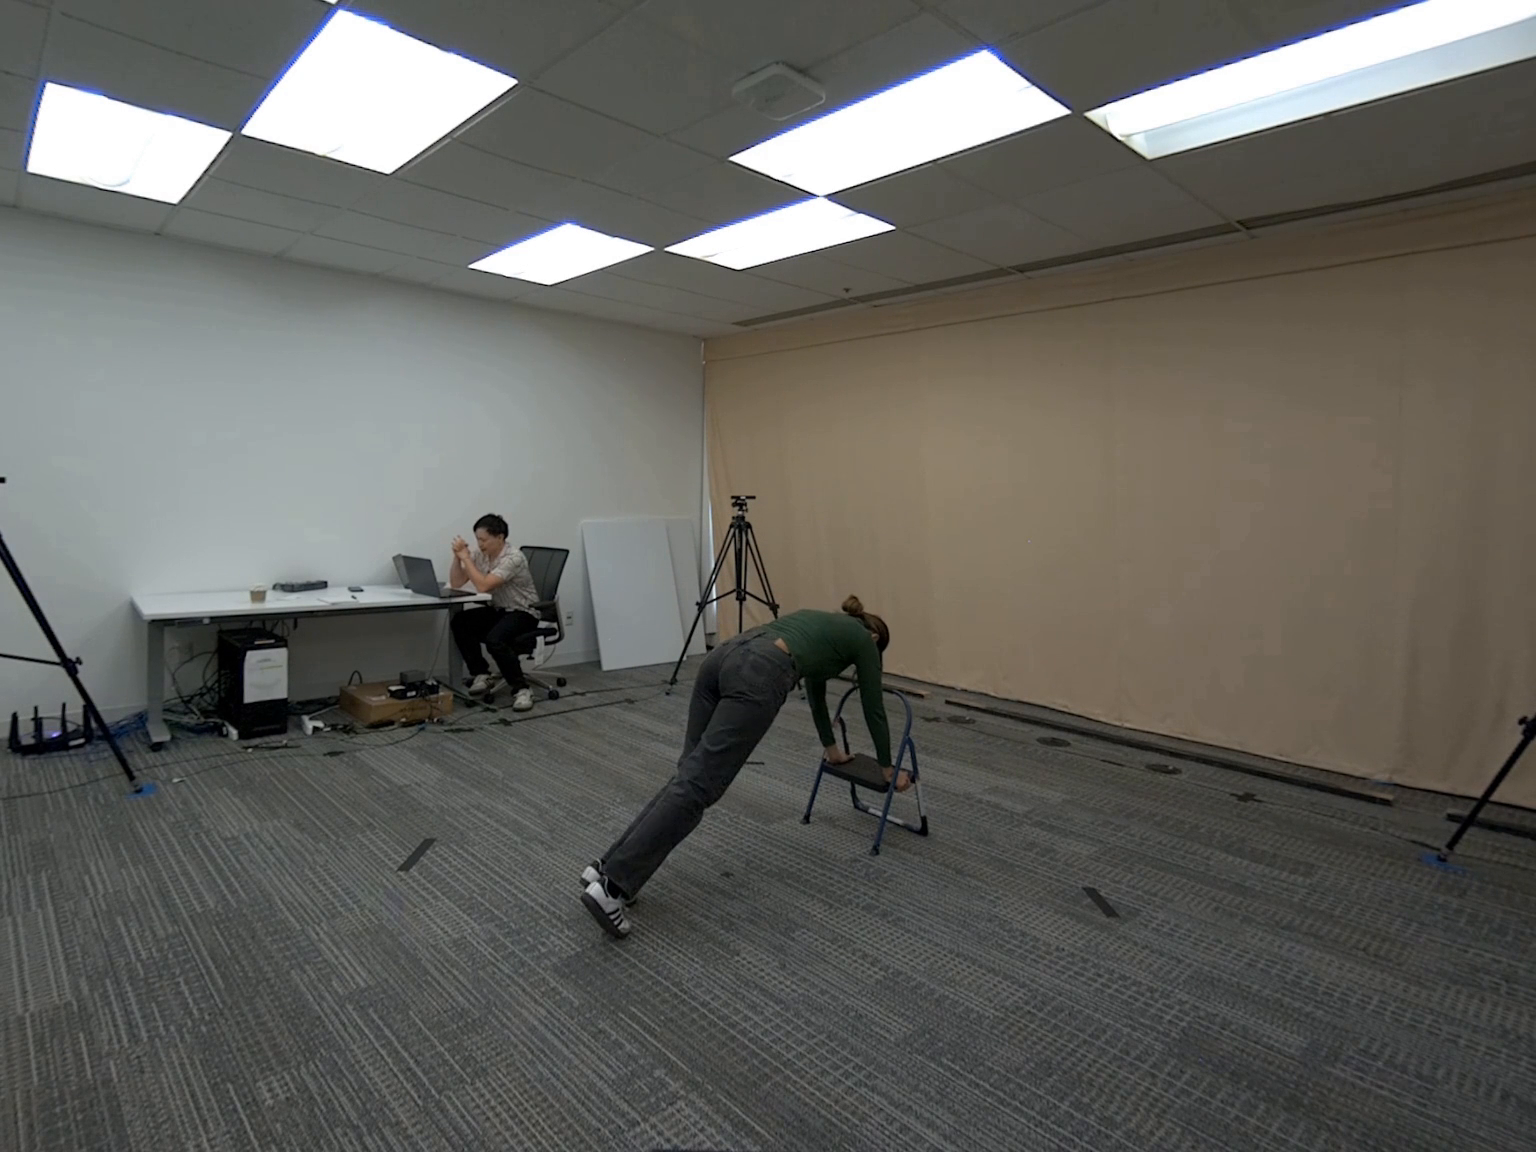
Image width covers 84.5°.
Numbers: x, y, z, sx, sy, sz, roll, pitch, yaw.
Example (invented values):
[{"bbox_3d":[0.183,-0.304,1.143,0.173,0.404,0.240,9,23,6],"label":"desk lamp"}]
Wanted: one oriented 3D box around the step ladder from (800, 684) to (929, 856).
[{"bbox_3d":[0.410,0.775,3.555,0.341,0.605,0.441,-1,4,-40],"label":"step ladder"}]
